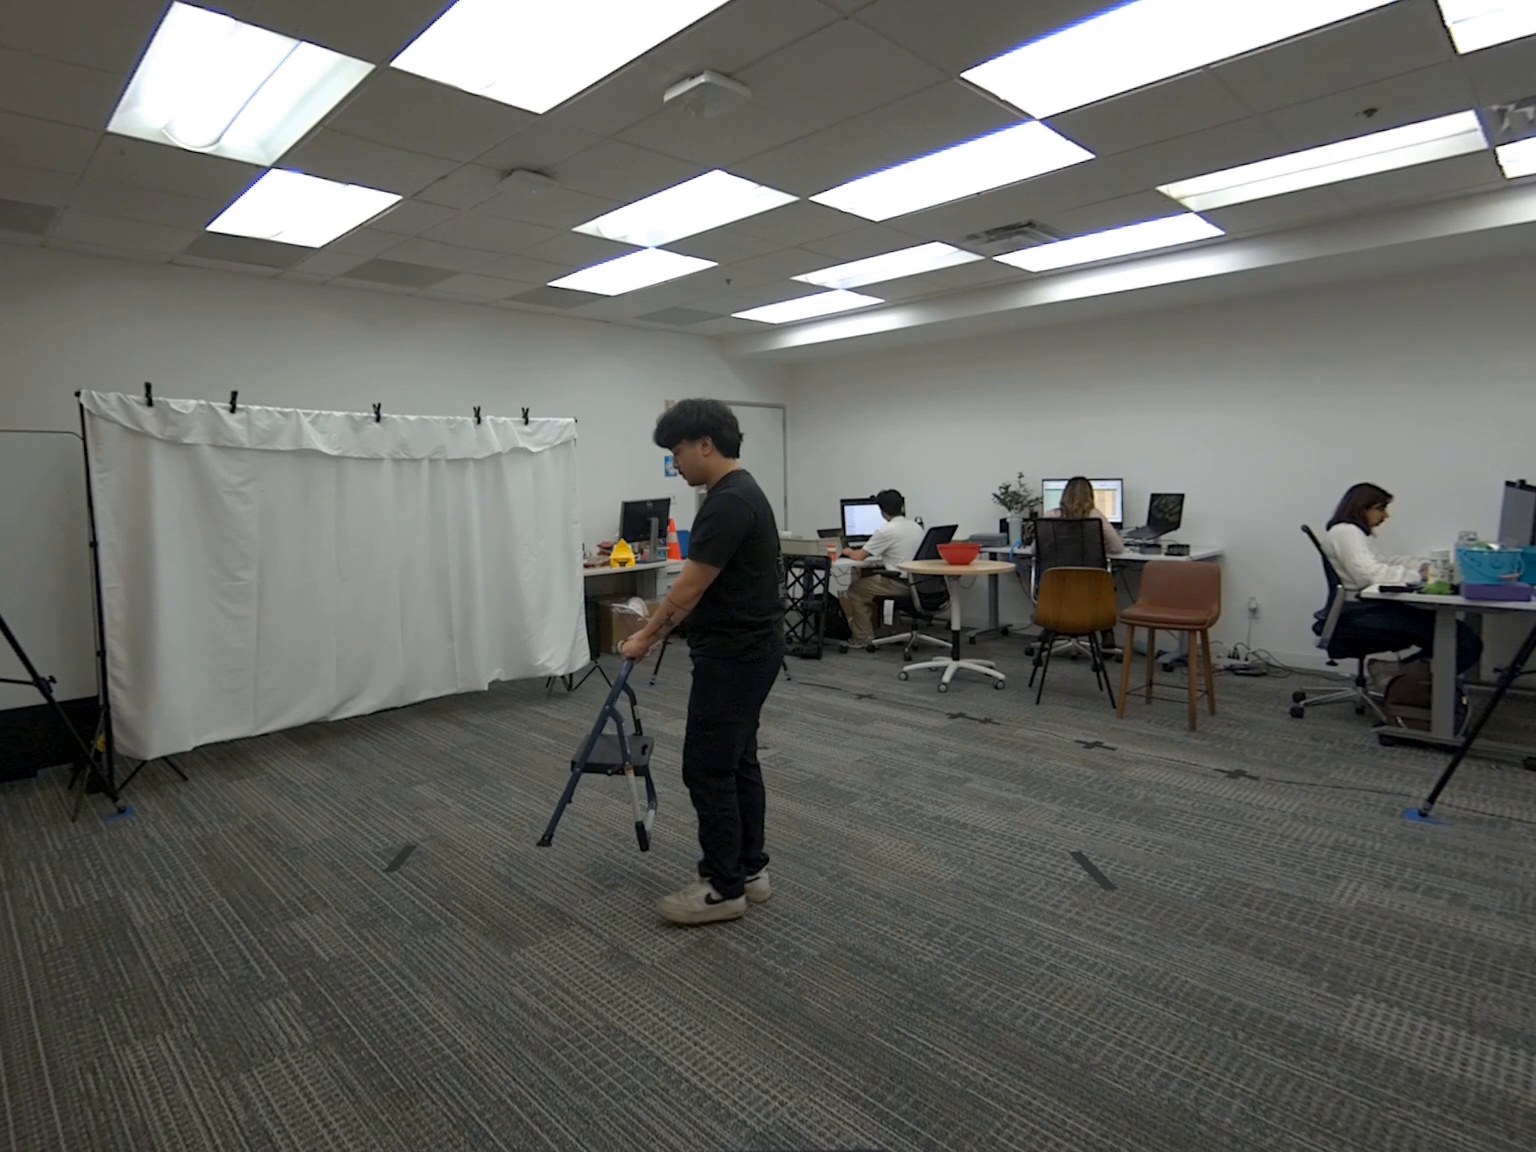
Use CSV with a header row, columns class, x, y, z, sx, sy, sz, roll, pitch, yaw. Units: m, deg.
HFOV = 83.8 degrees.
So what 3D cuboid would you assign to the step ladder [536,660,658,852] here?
class,x,y,z,sx,sy,sz,roll,pitch,yaw
step ladder,-0.525,0.535,2.828,0.348,0.605,0.433,5,2,-4
